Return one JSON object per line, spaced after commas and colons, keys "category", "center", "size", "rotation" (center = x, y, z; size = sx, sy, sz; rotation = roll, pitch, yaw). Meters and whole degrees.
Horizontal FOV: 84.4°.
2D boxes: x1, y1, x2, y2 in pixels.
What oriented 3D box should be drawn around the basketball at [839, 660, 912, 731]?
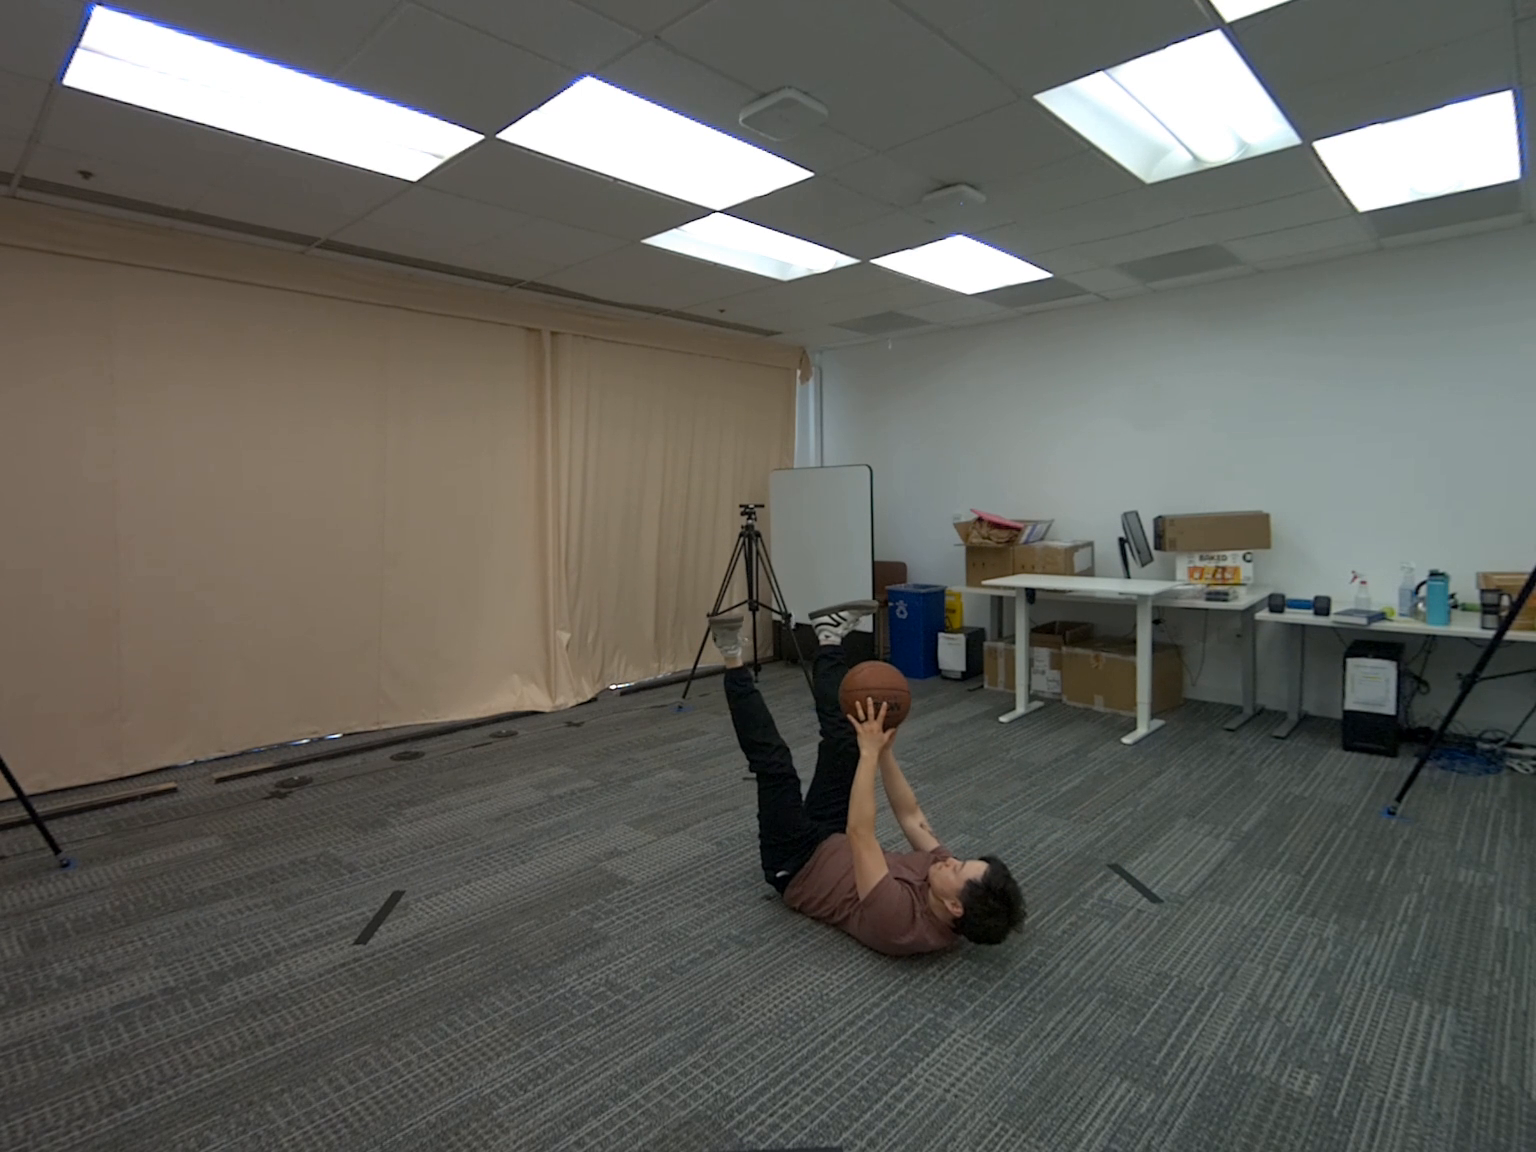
{"category": "basketball", "center": [0.357, 0.402, 2.787], "size": [0.236, 0.235, 0.236], "rotation": [-1, 3, -2]}
